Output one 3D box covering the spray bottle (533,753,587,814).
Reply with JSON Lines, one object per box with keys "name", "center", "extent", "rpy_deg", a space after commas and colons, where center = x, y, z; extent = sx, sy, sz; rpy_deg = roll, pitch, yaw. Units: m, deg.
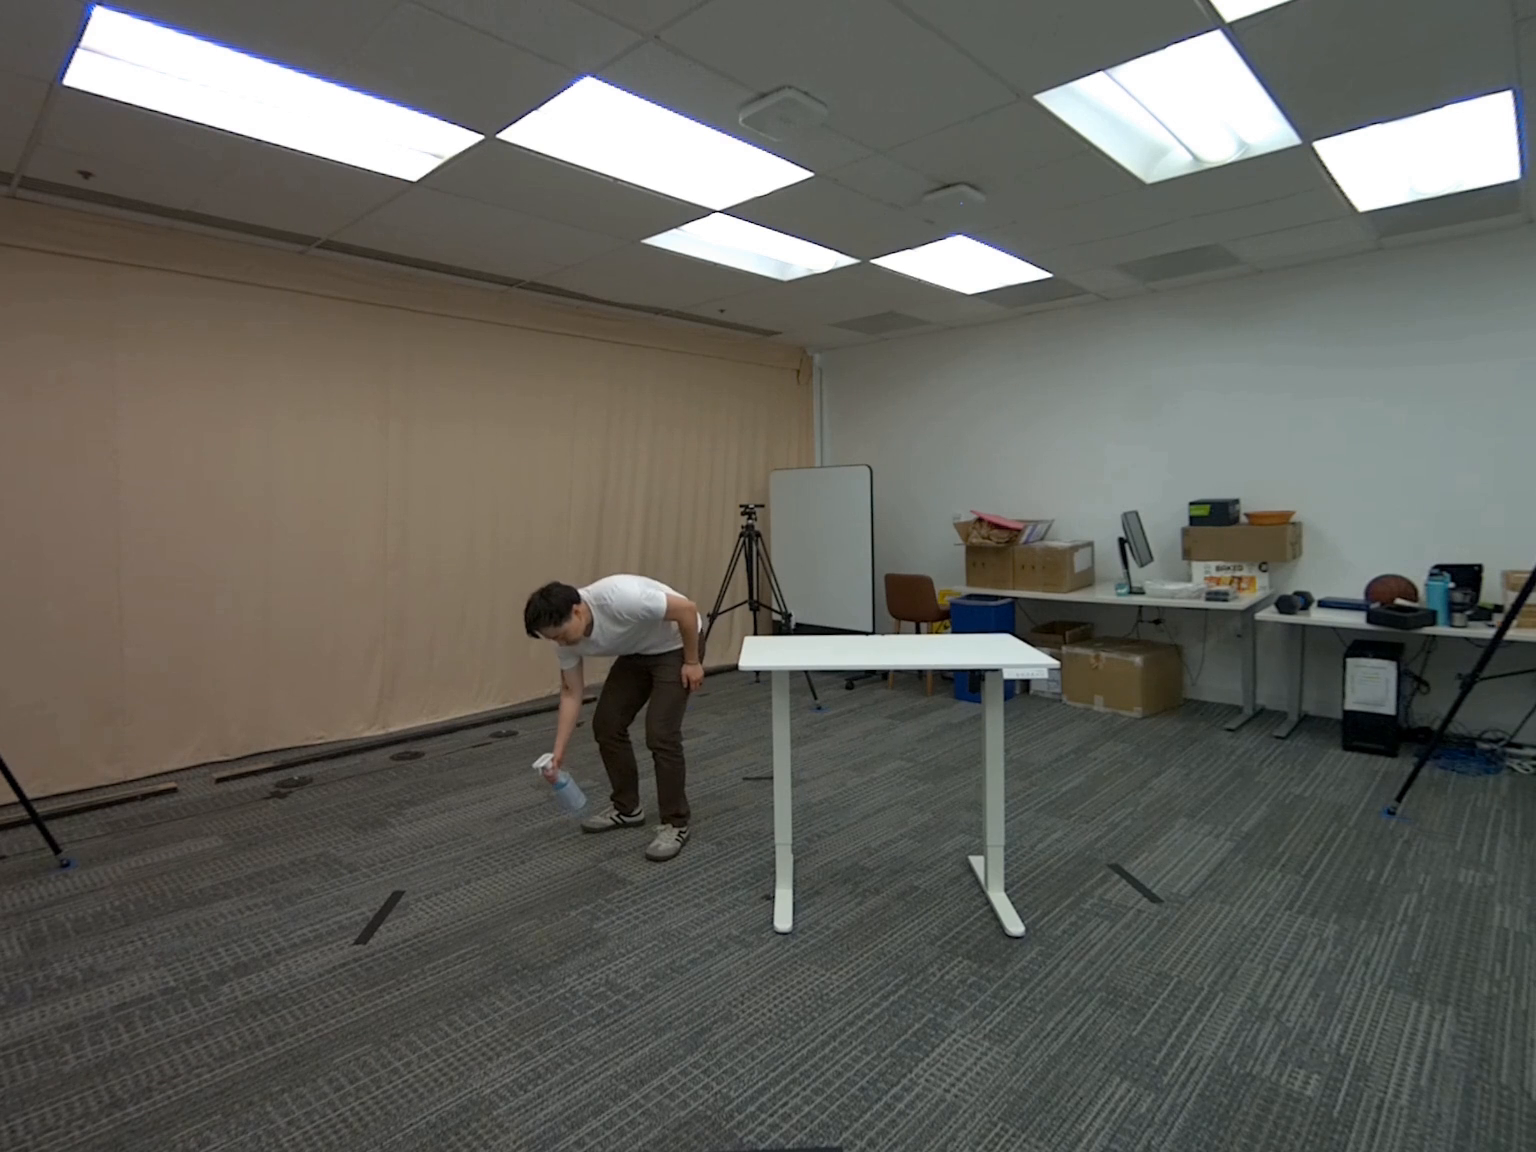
{"name": "spray bottle", "center": [-0.837, 0.829, 3.427], "extent": [0.090, 0.290, 0.089], "rpy_deg": [-30, 28, -5]}
